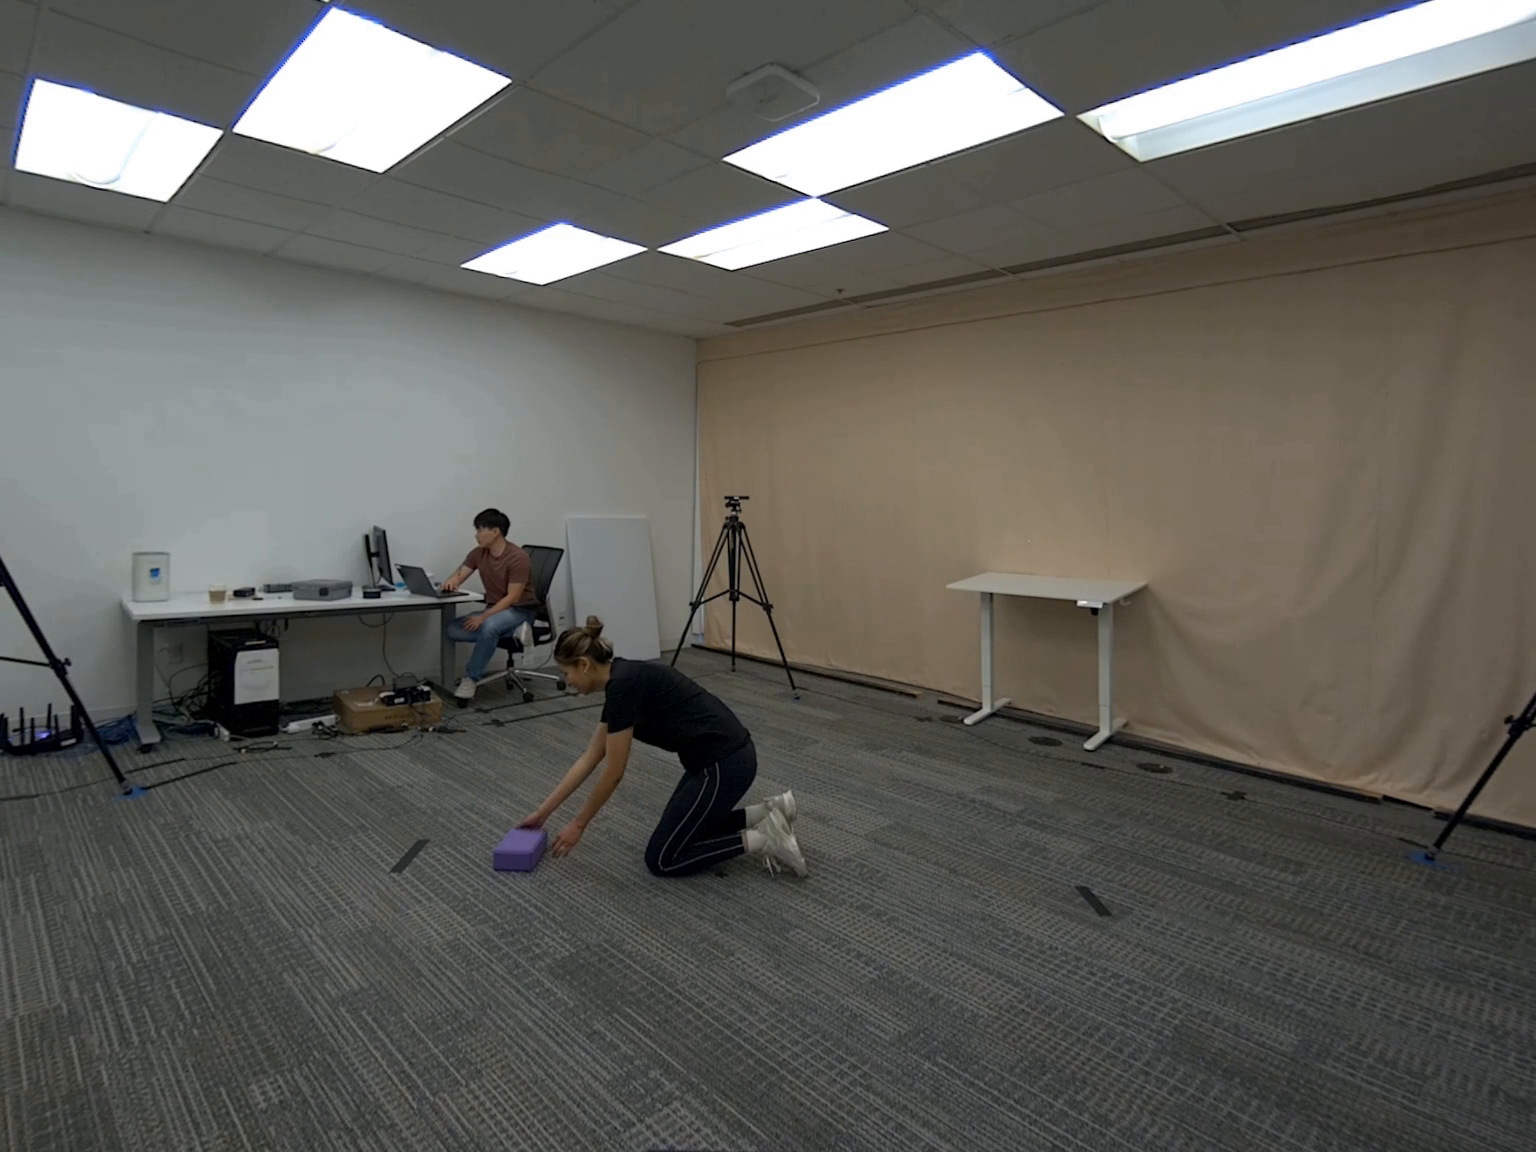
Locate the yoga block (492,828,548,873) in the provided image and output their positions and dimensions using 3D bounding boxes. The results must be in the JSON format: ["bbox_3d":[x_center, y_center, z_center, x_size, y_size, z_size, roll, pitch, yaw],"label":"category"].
[{"bbox_3d":[-0.935,1.031,3.200,0.149,0.076,0.229,0,5,2],"label":"yoga block"}]
